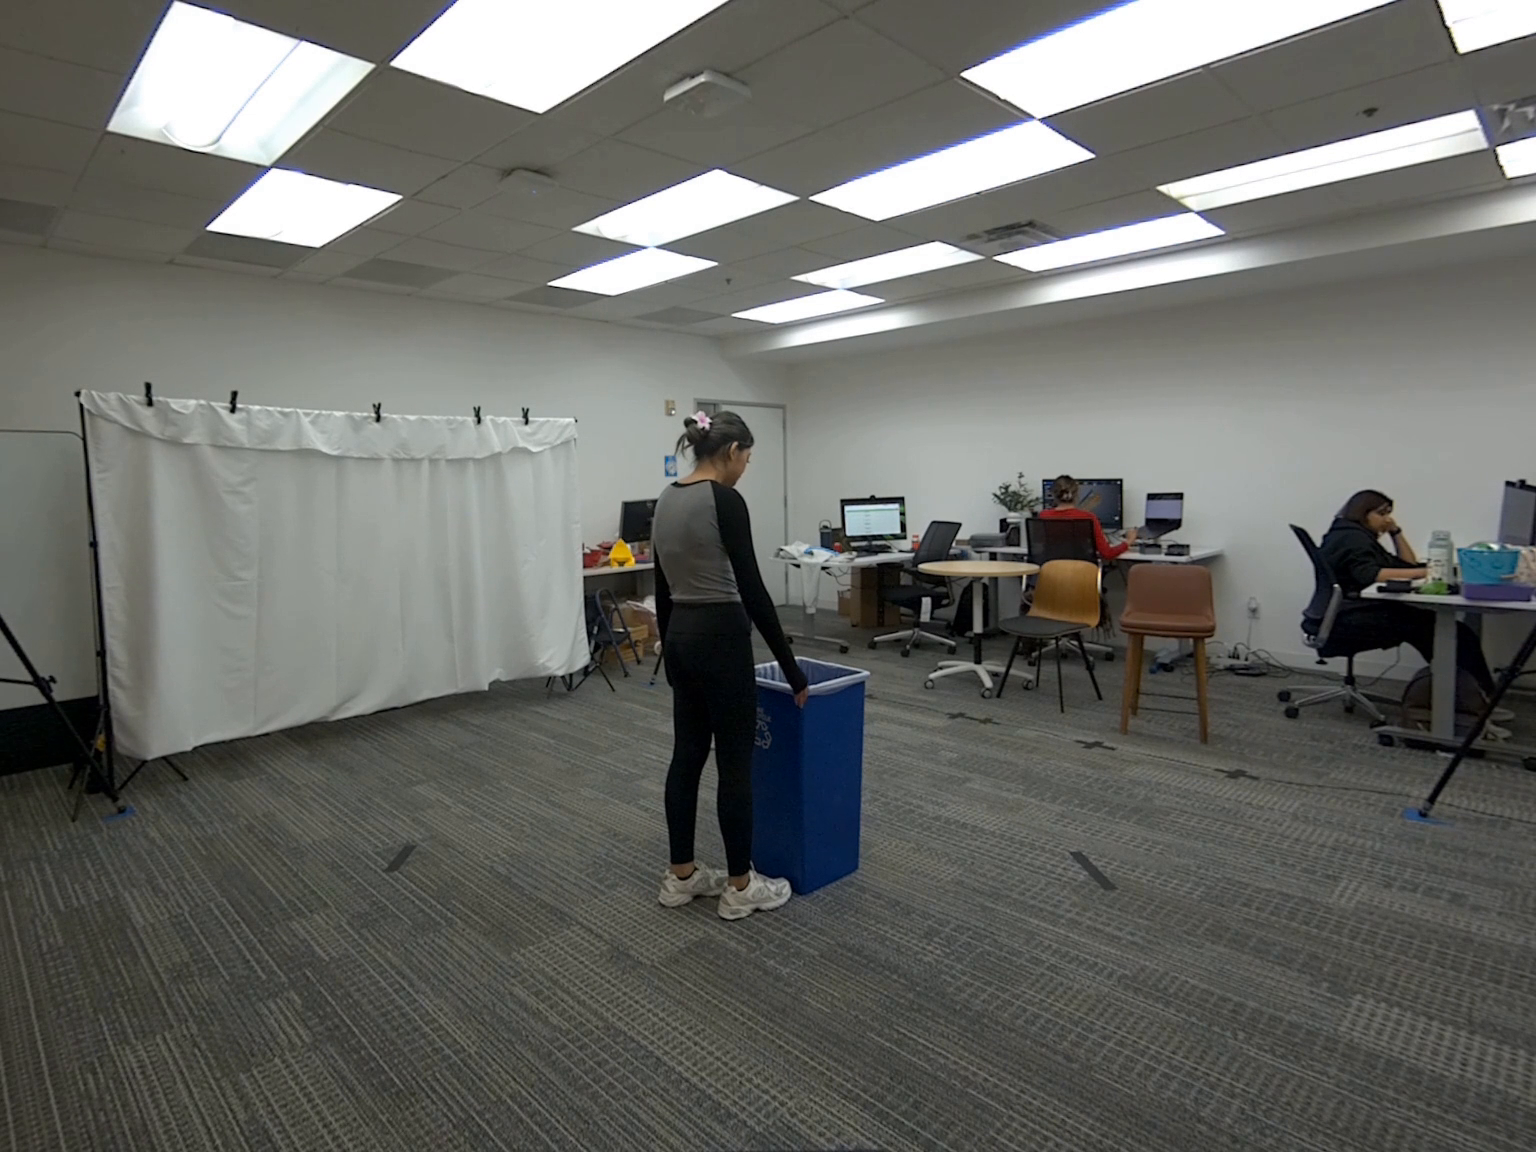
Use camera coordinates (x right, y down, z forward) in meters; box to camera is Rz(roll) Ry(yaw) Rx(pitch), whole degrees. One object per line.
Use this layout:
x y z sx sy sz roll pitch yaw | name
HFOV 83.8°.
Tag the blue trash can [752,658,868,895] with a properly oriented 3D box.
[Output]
0.124 0.688 3.031 0.368 0.711 0.385 -5 6 -43 | blue trash can
